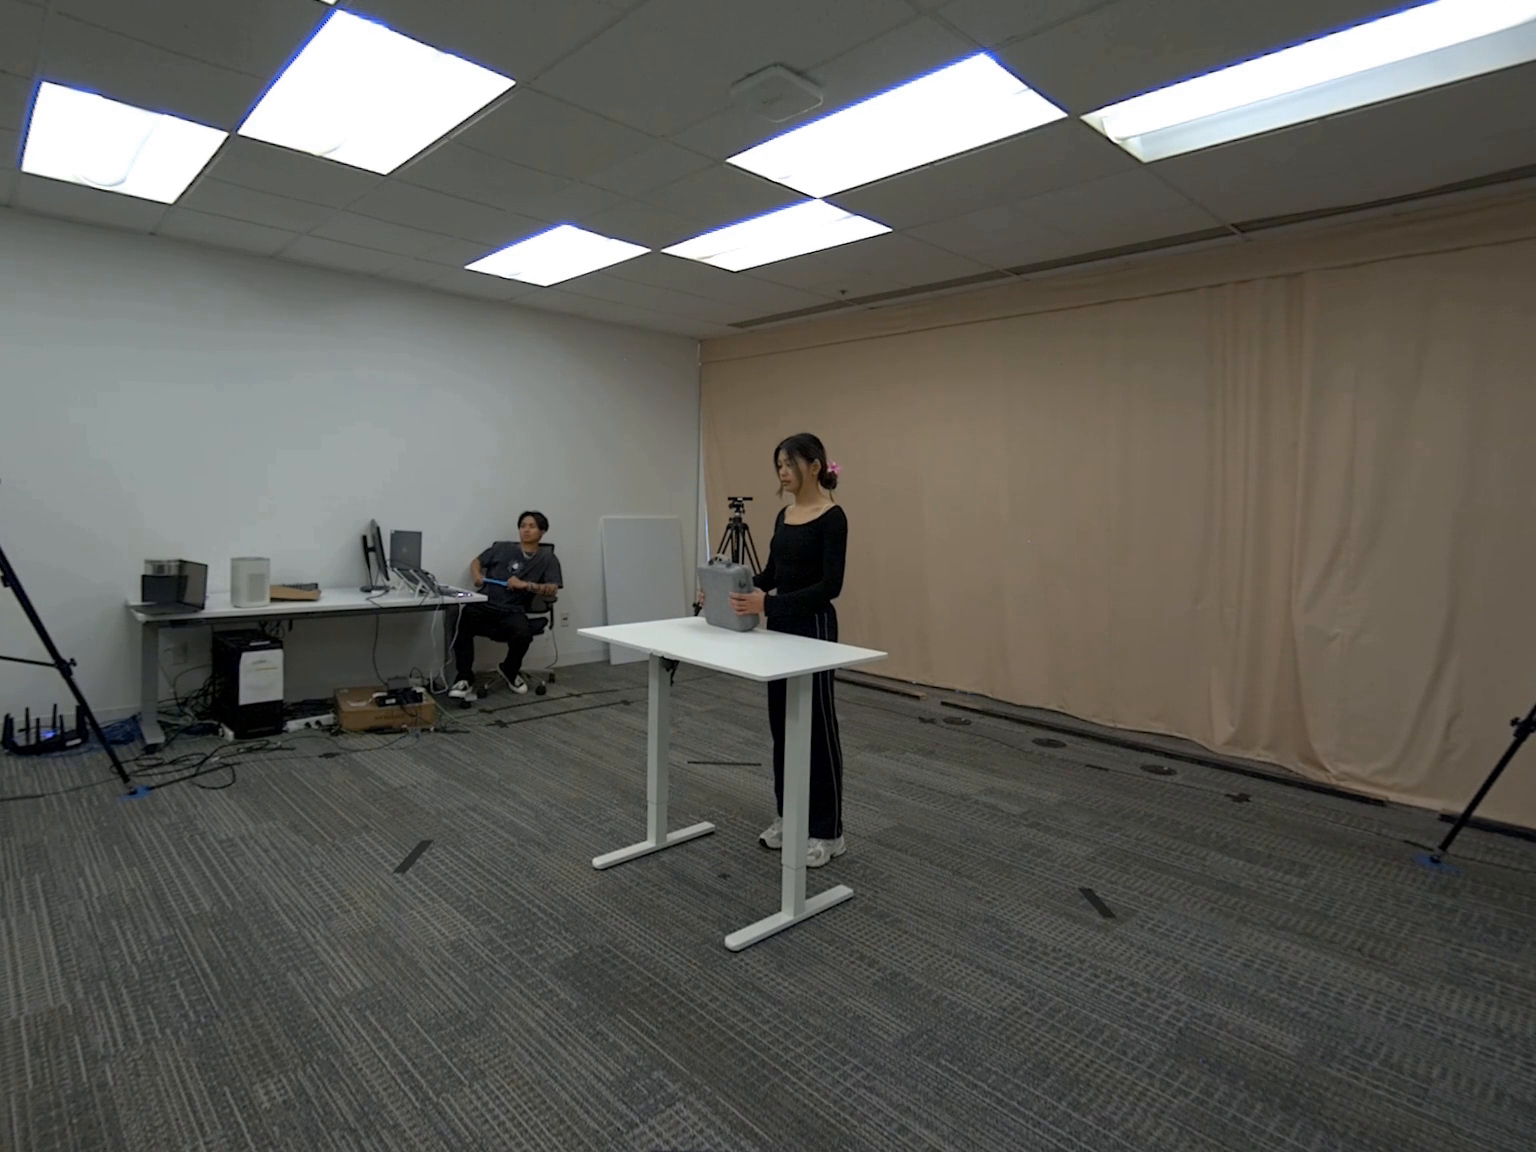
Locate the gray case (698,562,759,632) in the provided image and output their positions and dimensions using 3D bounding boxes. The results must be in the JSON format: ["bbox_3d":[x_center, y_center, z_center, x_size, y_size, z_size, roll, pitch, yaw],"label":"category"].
[{"bbox_3d":[-0.164,0.075,3.287,0.103,0.258,0.263,-16,13,-34],"label":"gray case"}]
